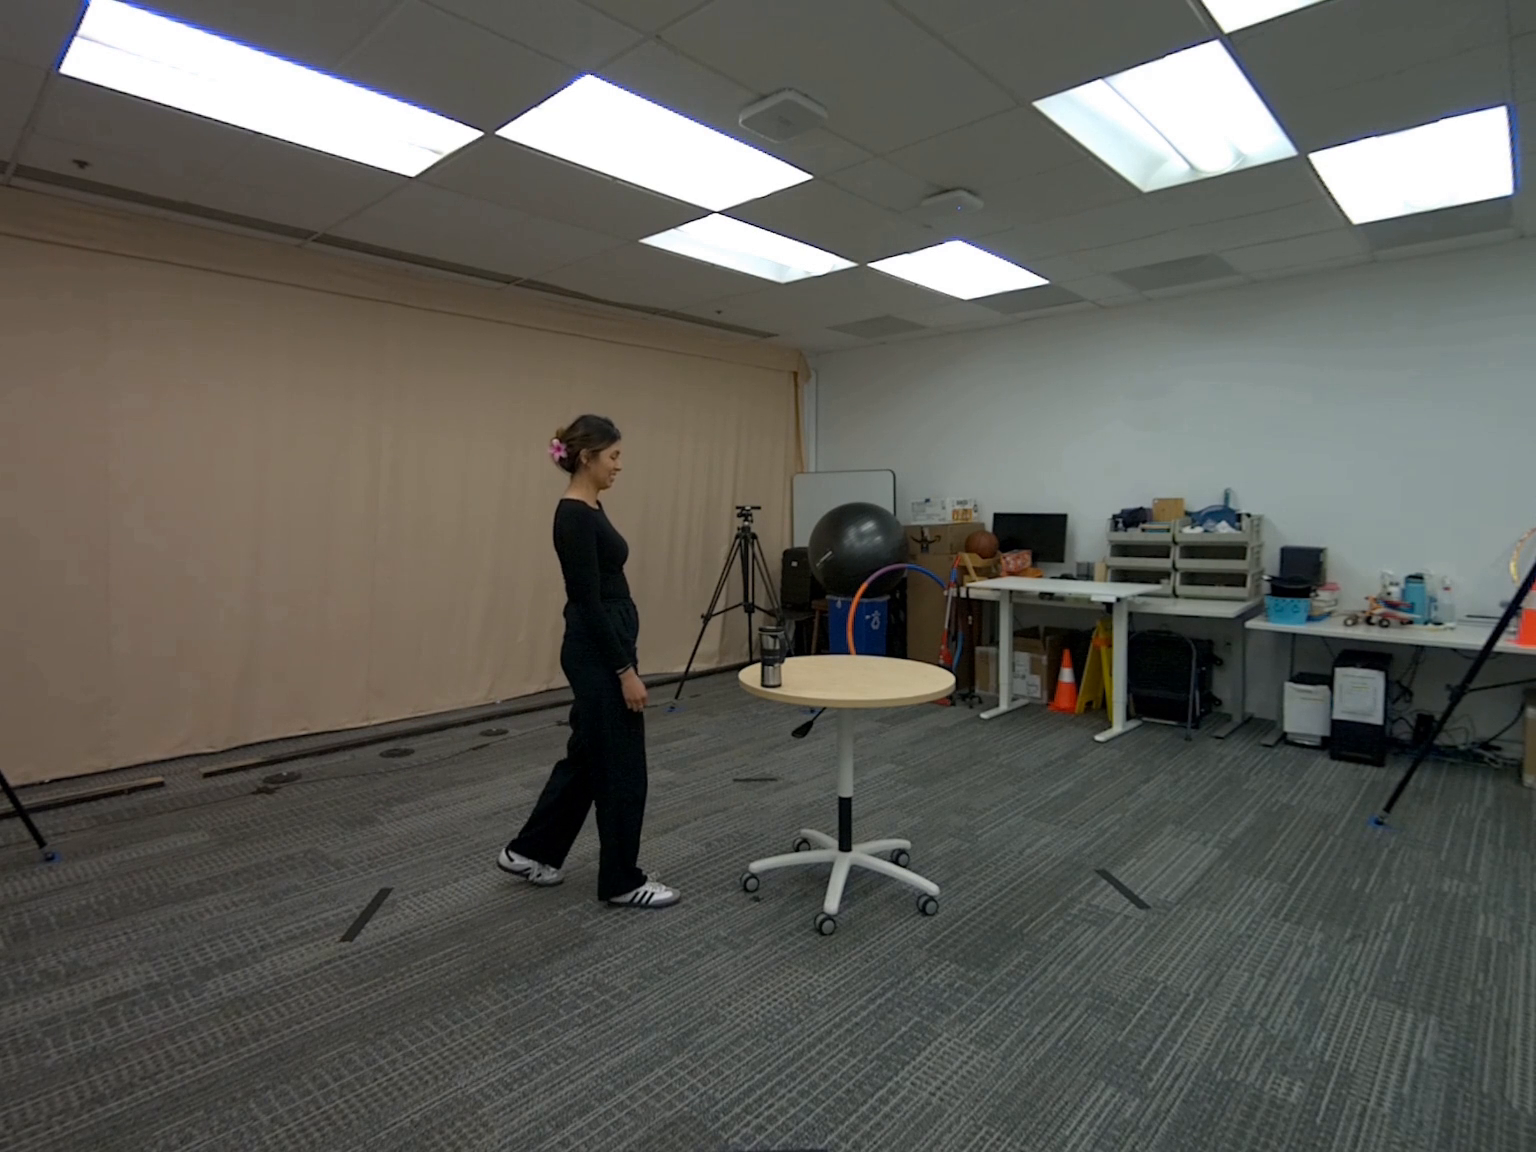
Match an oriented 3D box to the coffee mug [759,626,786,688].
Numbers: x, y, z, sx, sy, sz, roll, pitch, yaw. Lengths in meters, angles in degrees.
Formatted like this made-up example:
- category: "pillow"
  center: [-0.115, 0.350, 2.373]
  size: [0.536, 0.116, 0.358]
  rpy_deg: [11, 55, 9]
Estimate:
- category: "coffee mug"
  center: [0.002, 0.274, 2.831]
  size: [0.091, 0.203, 0.118]
  rpy_deg: [4, -1, 39]
